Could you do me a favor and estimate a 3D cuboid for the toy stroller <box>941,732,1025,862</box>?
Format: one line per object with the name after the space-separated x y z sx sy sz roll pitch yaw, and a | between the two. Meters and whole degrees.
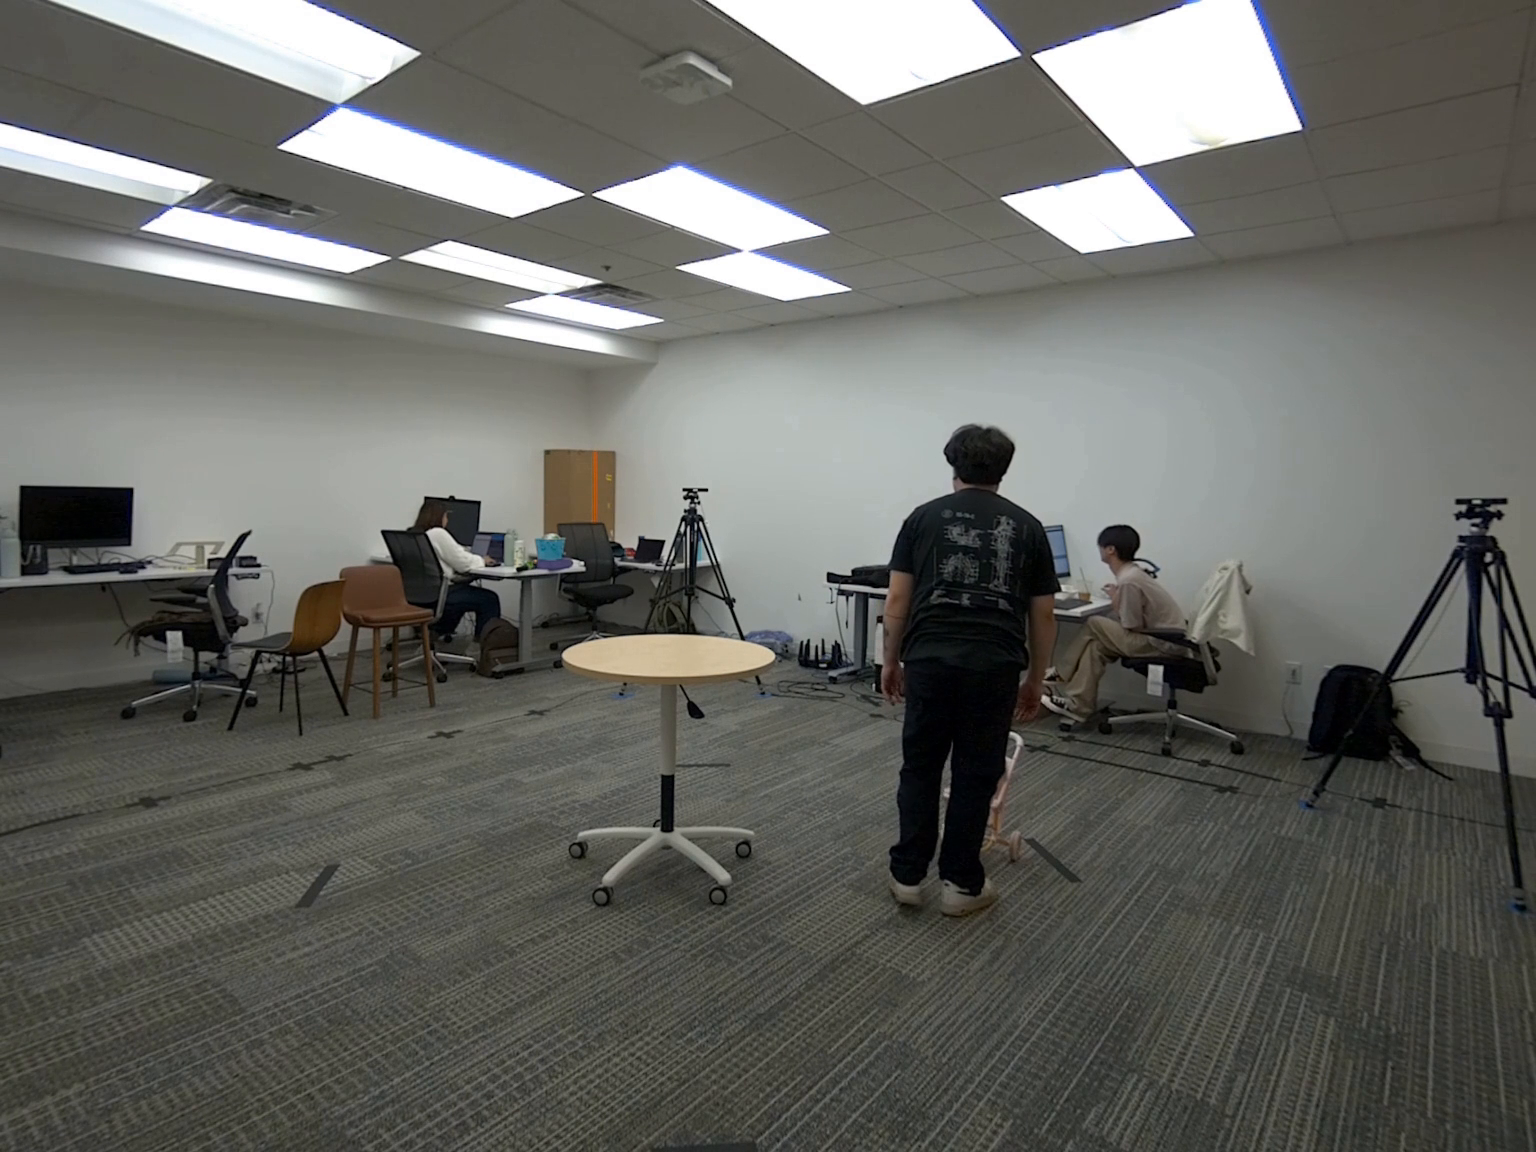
0.801 0.851 3.269 0.291 0.538 0.328 5 -10 38 | toy stroller
